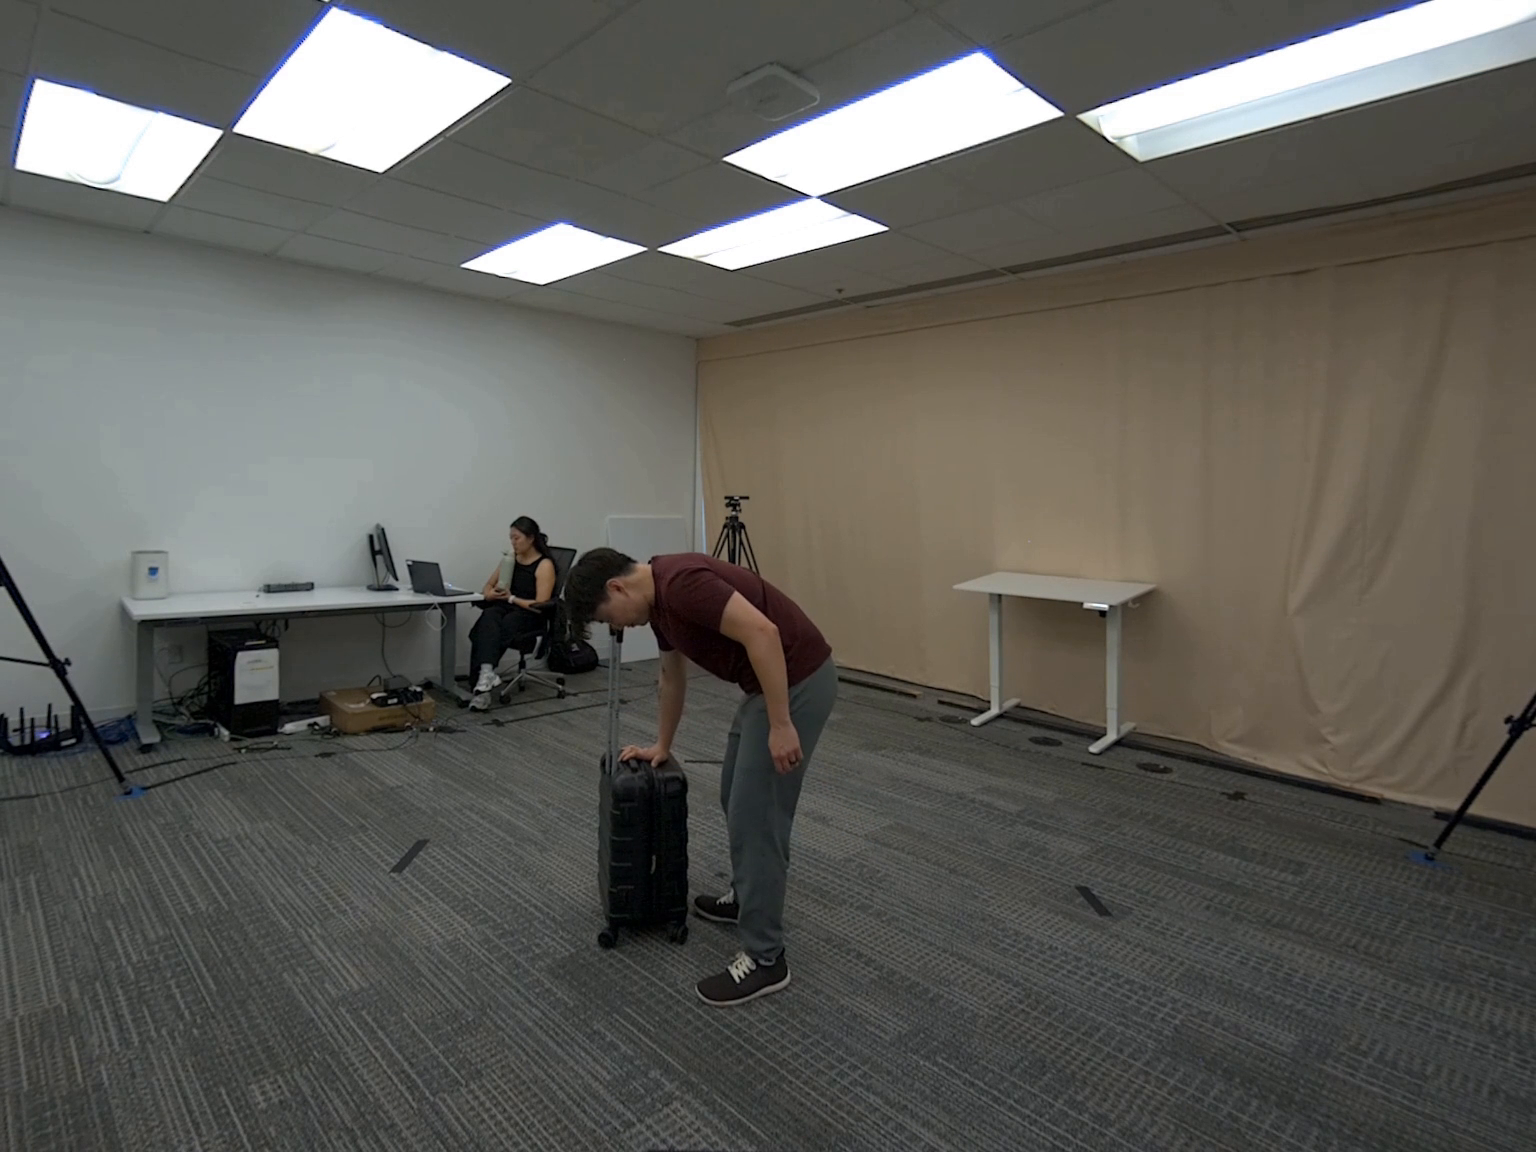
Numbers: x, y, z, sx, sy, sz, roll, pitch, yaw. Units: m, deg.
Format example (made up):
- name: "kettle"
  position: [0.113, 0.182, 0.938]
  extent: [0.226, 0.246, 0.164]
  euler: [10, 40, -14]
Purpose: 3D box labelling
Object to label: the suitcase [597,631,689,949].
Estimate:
- name: "suitcase"
  position: [-0.416, 0.660, 2.747]
  extent: [0.254, 0.977, 0.388]
  euler: [2, 2, -13]
